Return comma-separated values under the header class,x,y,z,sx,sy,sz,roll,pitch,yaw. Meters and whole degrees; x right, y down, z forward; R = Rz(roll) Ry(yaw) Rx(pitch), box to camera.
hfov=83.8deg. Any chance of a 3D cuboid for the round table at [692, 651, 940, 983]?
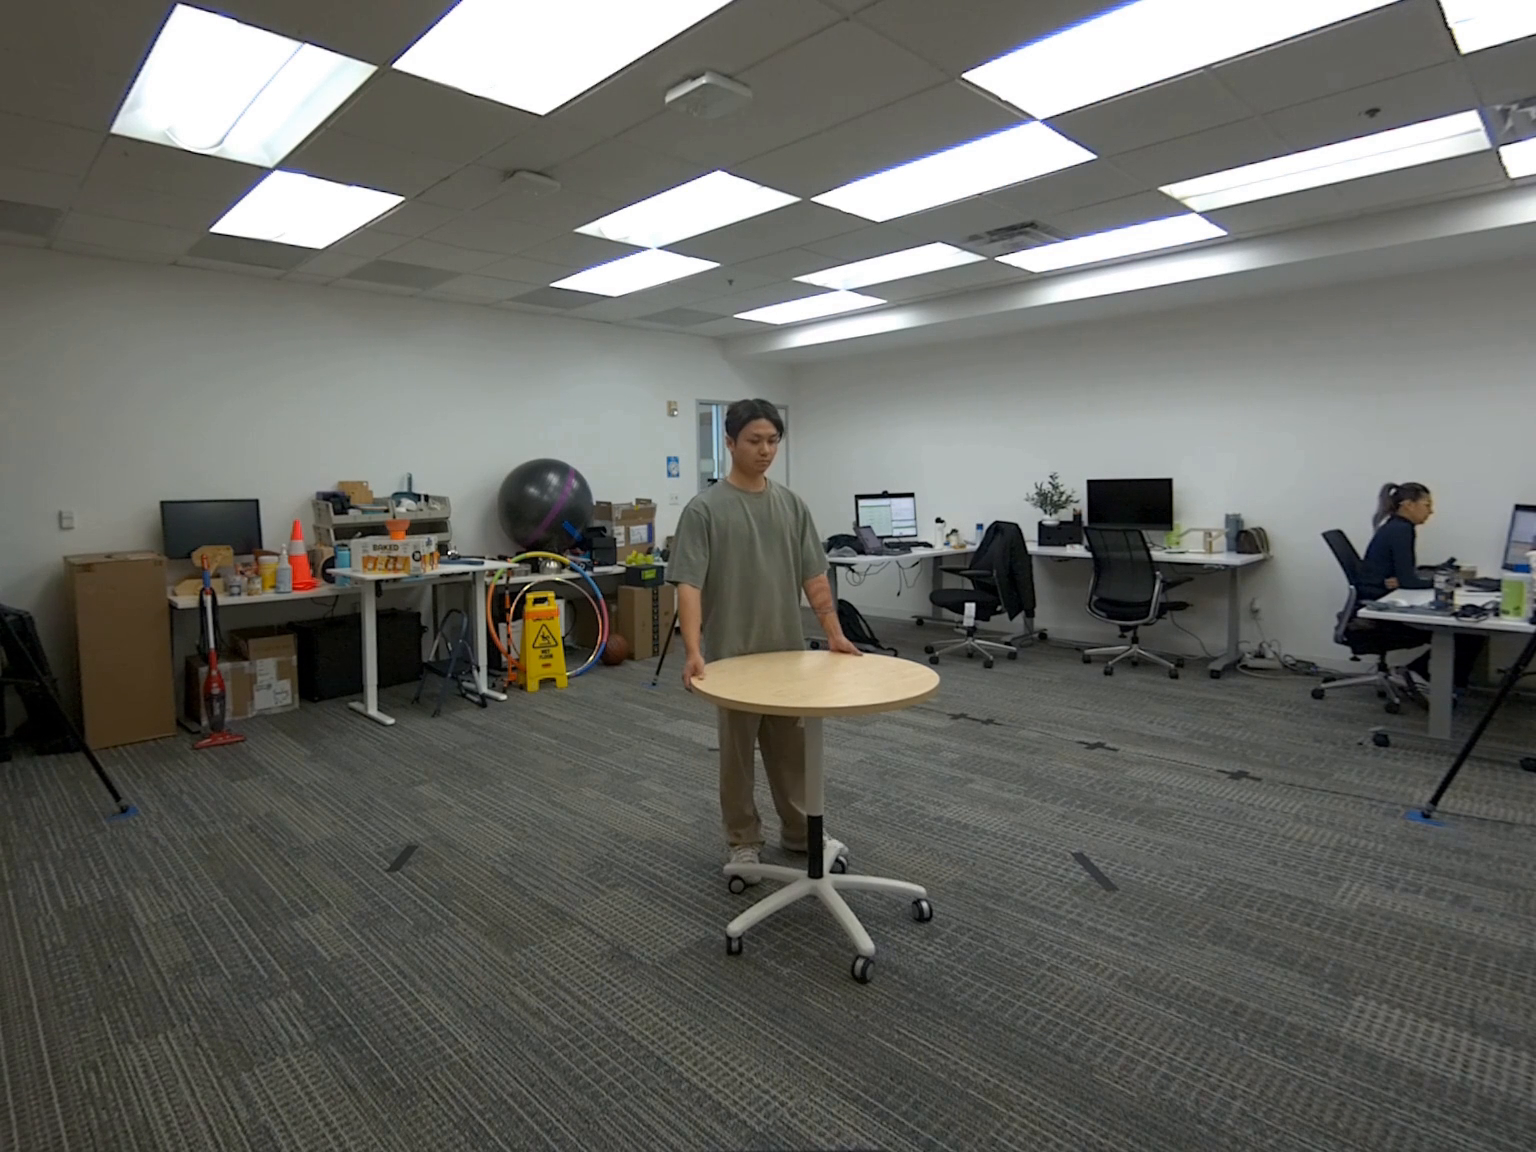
class,x,y,z,sx,sy,sz,roll,pitch,yaw
round table,0.153,0.700,2.664,0.784,0.784,0.789,-2,4,-2
